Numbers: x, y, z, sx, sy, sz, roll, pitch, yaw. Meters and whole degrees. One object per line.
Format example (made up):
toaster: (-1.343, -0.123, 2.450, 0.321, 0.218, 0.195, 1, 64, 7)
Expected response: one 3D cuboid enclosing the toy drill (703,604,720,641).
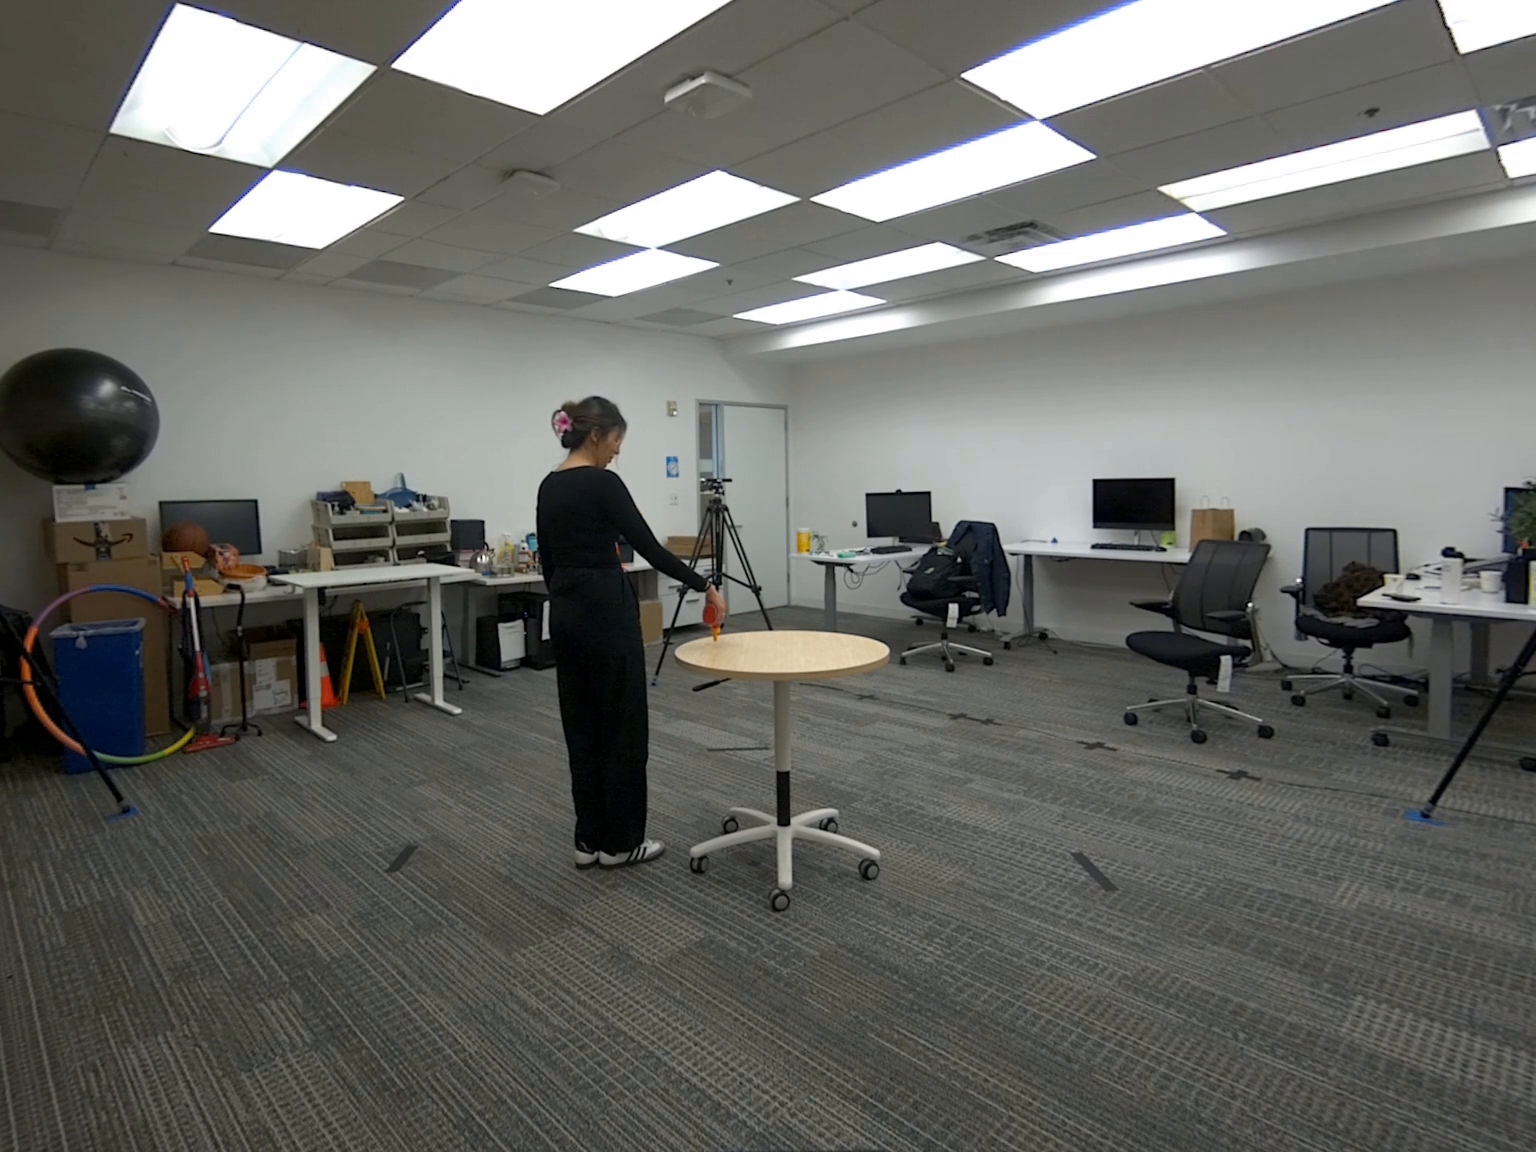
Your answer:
toy drill: (-0.201, 0.165, 3.151, 0.062, 0.169, 0.145, 2, 6, 10)
